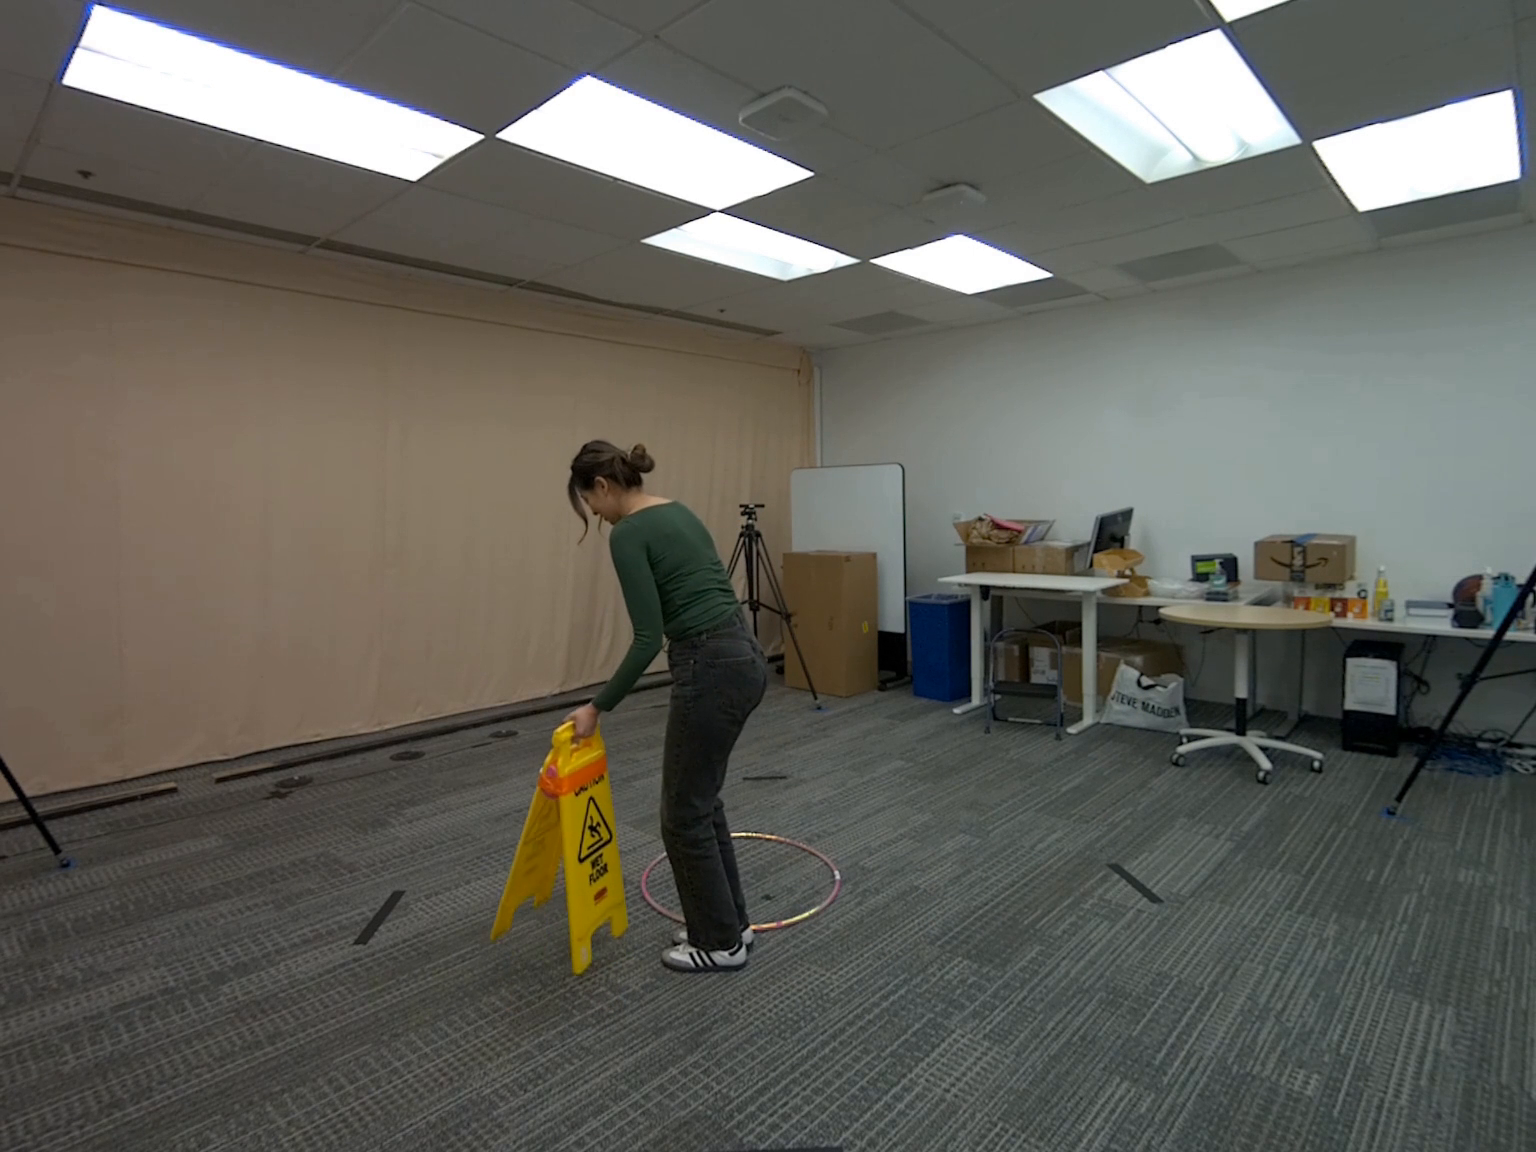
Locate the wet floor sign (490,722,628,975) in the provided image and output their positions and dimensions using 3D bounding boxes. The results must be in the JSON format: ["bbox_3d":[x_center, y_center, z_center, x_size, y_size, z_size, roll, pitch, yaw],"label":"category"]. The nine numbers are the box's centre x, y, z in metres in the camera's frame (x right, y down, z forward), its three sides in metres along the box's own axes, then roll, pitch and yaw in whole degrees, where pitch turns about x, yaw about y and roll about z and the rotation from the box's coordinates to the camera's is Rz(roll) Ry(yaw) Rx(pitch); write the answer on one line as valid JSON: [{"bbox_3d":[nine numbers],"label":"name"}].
[{"bbox_3d":[-0.572,0.735,2.402,0.297,0.644,0.276,8,6,22],"label":"wet floor sign"}]
